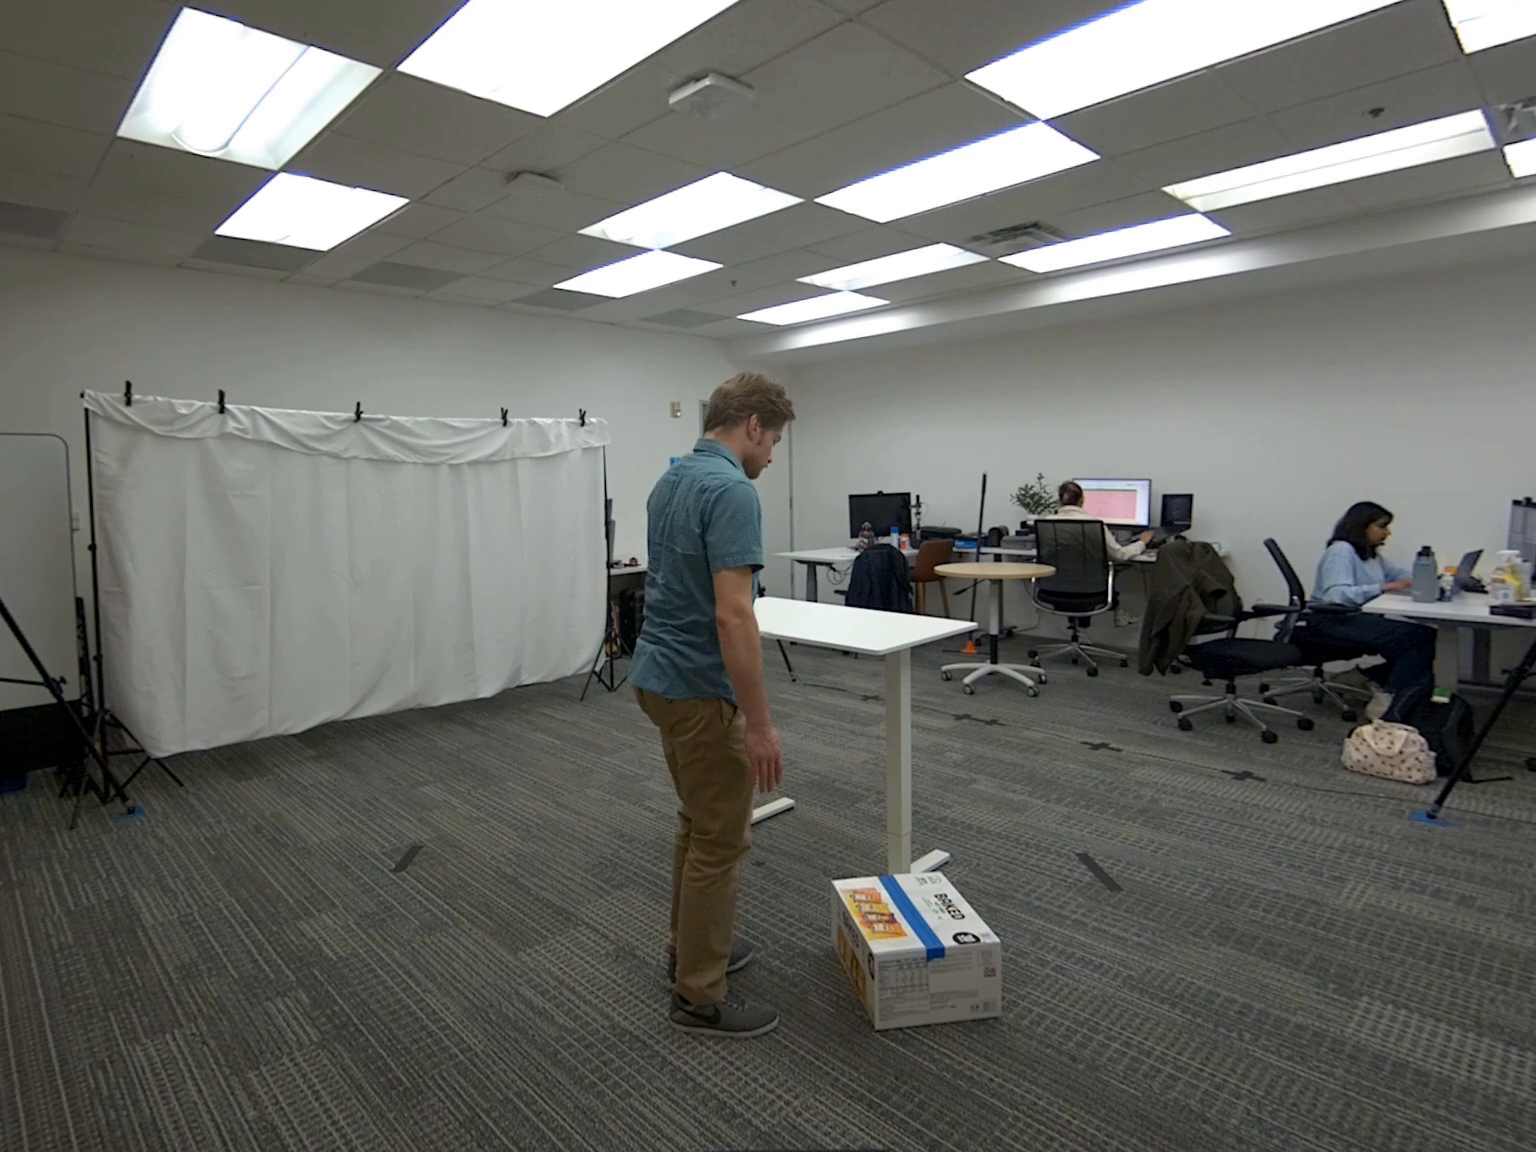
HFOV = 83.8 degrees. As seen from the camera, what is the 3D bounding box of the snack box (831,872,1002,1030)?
[{"bbox_3d":[0.401,1.024,2.368,0.337,0.205,0.410,-2,6,-10],"label":"snack box"}]
